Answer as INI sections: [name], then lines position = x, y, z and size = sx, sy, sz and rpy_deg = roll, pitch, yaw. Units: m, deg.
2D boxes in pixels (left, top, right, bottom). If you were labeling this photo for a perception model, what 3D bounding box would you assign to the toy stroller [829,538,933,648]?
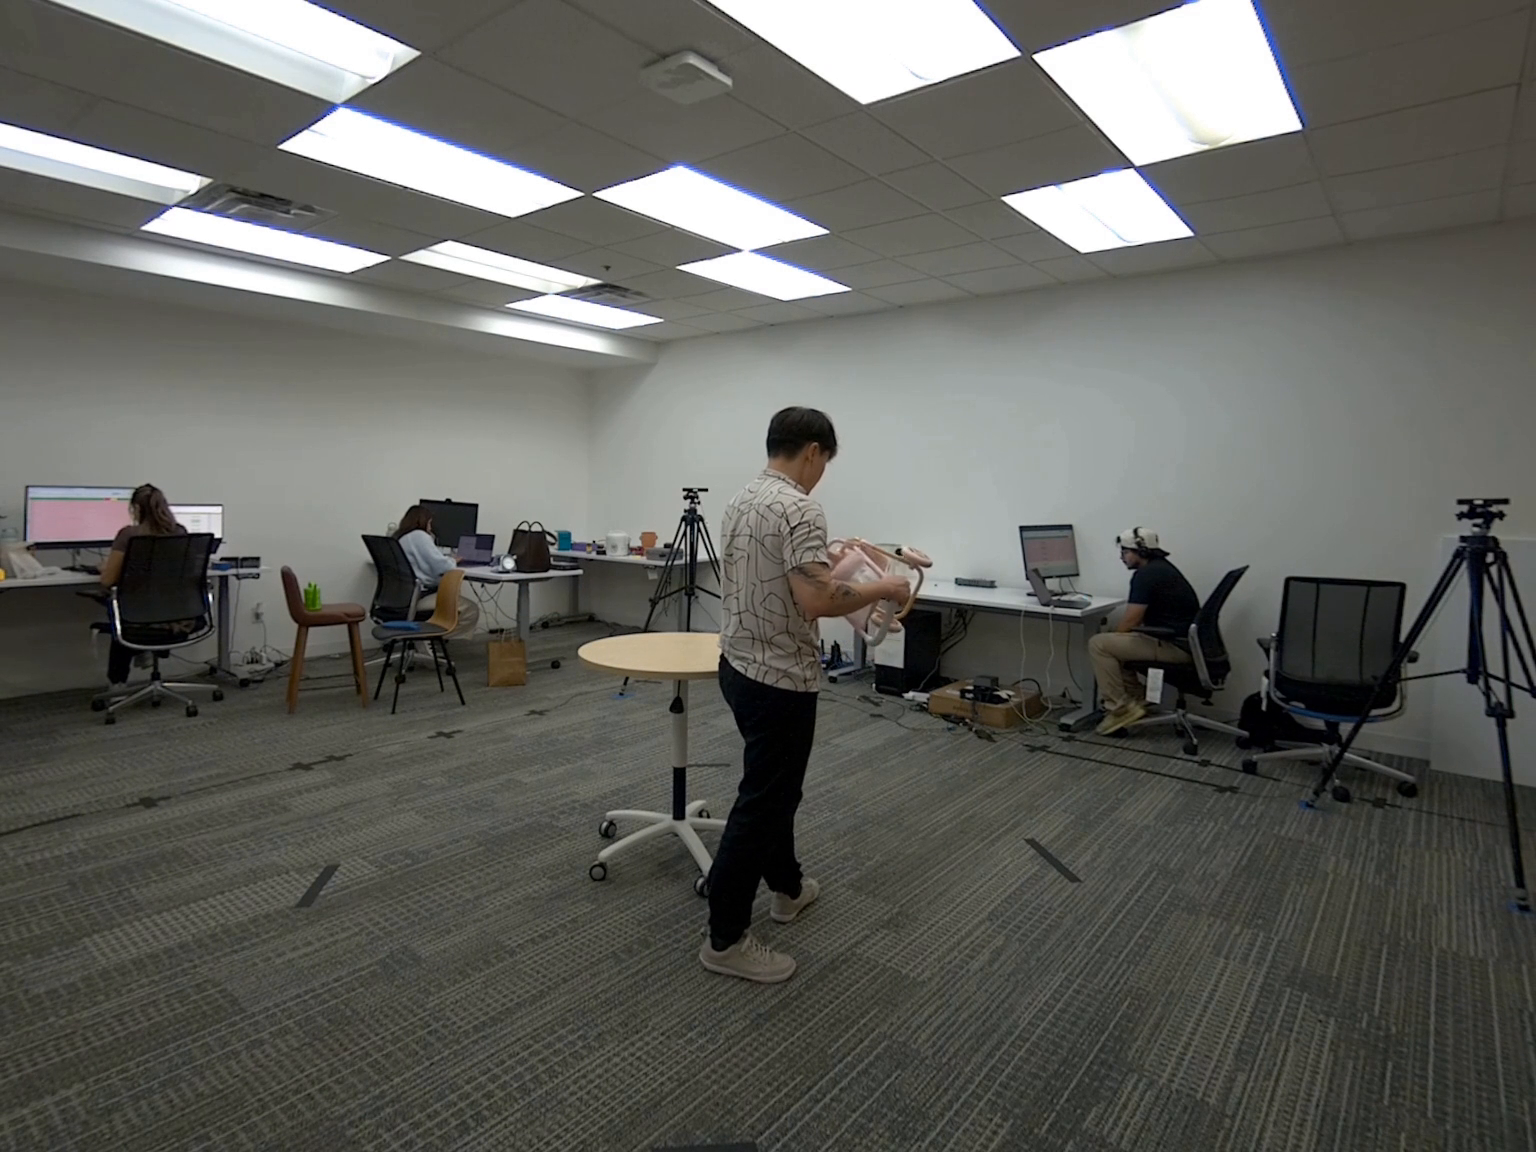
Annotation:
[toy stroller]
position = 0.297, 0.019, 2.716
size = 0.349, 0.279, 0.526
rpy_deg = 31, 19, 15
